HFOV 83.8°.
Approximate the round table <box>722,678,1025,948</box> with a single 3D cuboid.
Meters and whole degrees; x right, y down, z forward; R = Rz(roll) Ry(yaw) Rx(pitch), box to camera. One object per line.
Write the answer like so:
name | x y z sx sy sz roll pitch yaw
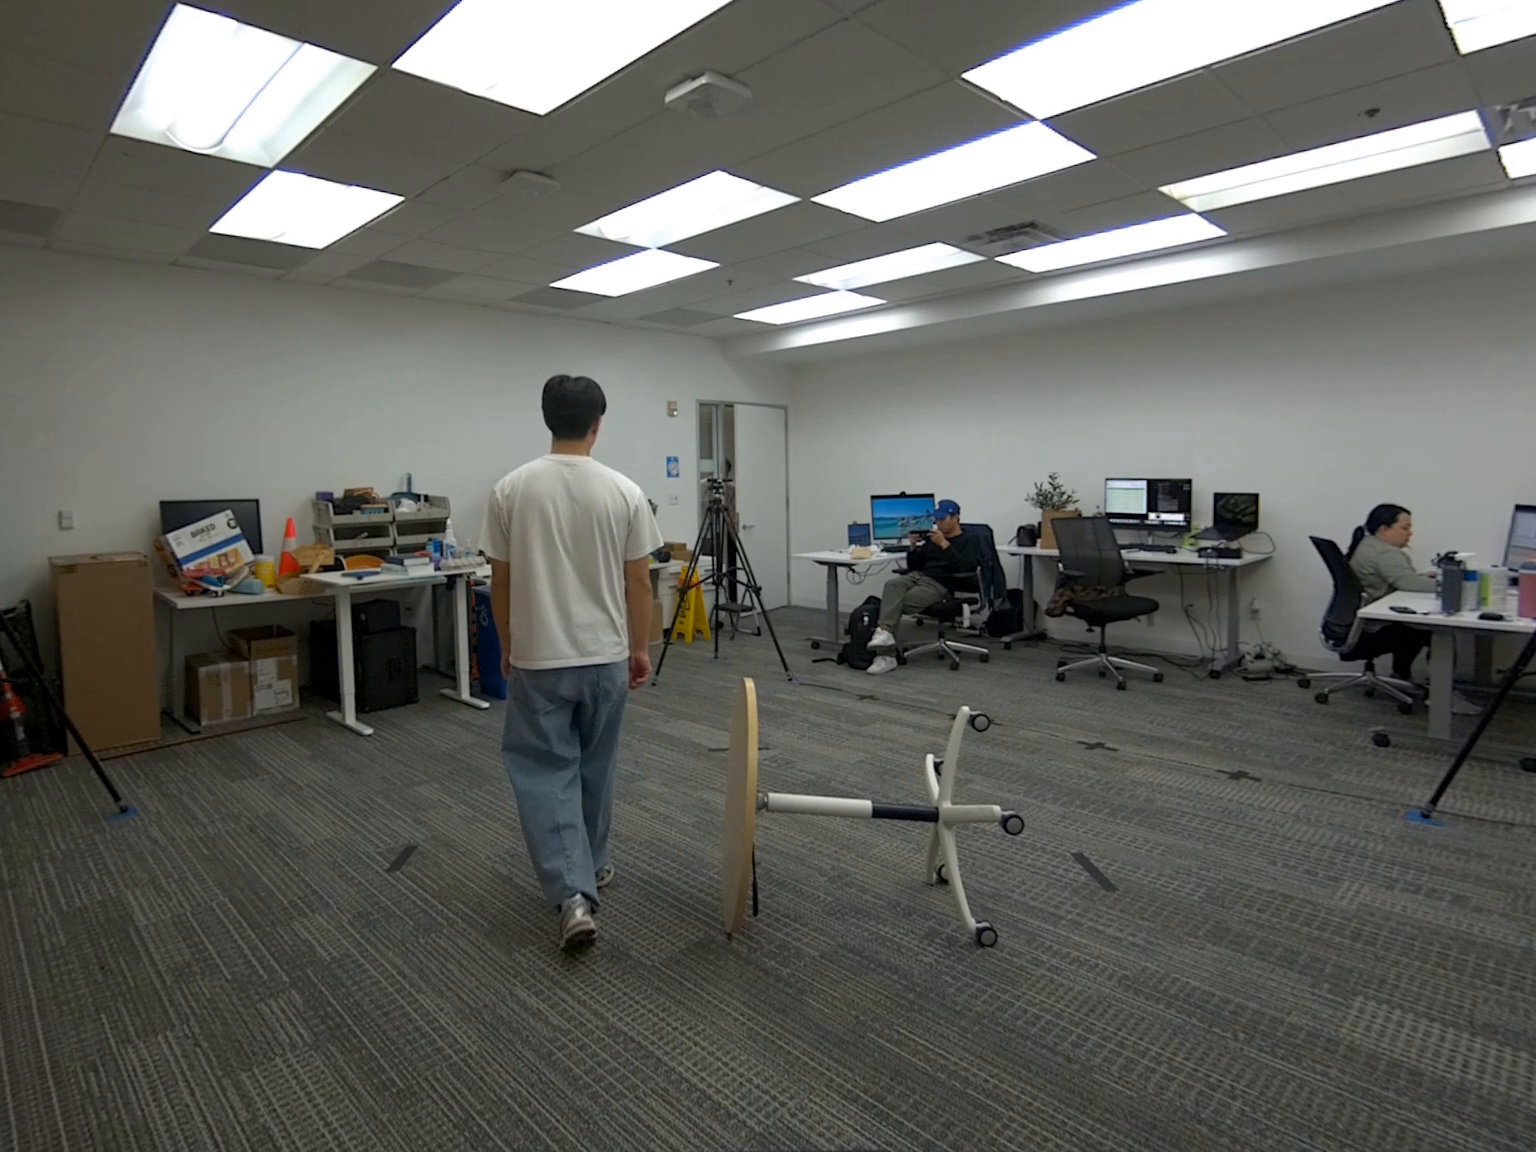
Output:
round table | 0.285 0.733 2.735 0.783 0.783 0.791 5 4 -5
